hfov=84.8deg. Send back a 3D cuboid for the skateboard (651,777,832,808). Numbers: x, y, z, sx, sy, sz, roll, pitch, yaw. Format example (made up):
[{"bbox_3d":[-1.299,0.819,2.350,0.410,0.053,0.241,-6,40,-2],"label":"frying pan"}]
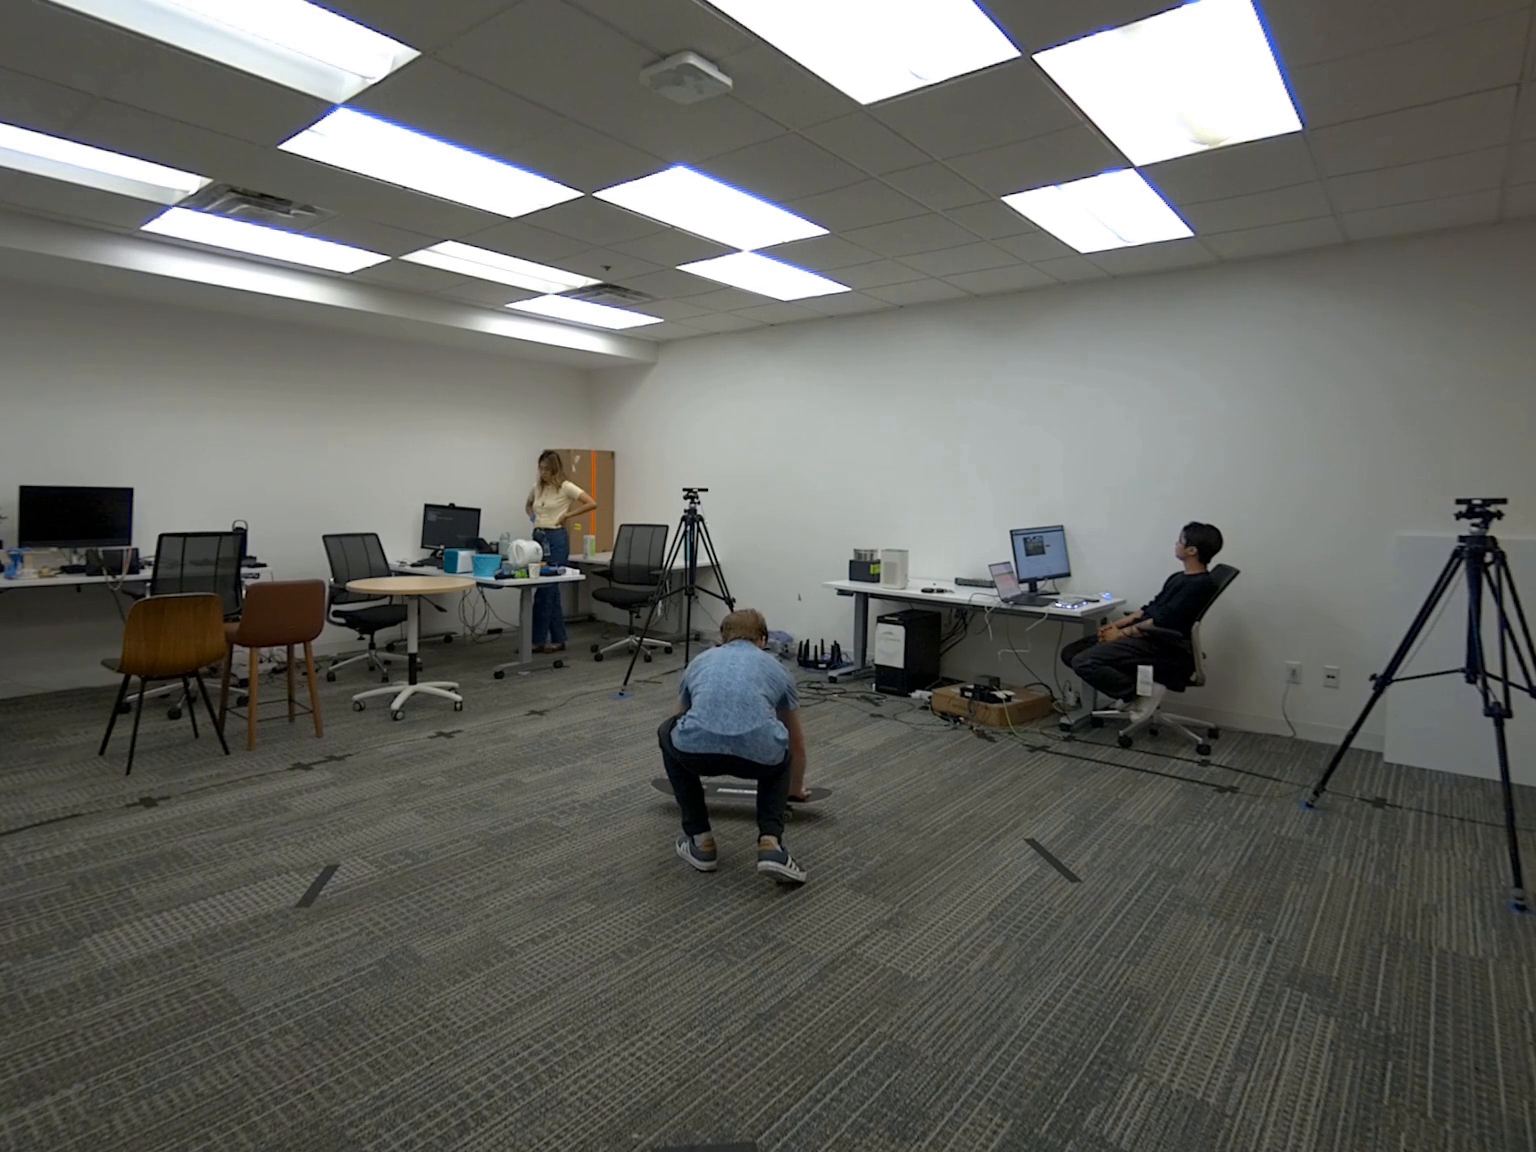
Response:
[{"bbox_3d":[-0.129,0.956,3.665,0.791,0.110,0.192,2,3,6],"label":"skateboard"}]
